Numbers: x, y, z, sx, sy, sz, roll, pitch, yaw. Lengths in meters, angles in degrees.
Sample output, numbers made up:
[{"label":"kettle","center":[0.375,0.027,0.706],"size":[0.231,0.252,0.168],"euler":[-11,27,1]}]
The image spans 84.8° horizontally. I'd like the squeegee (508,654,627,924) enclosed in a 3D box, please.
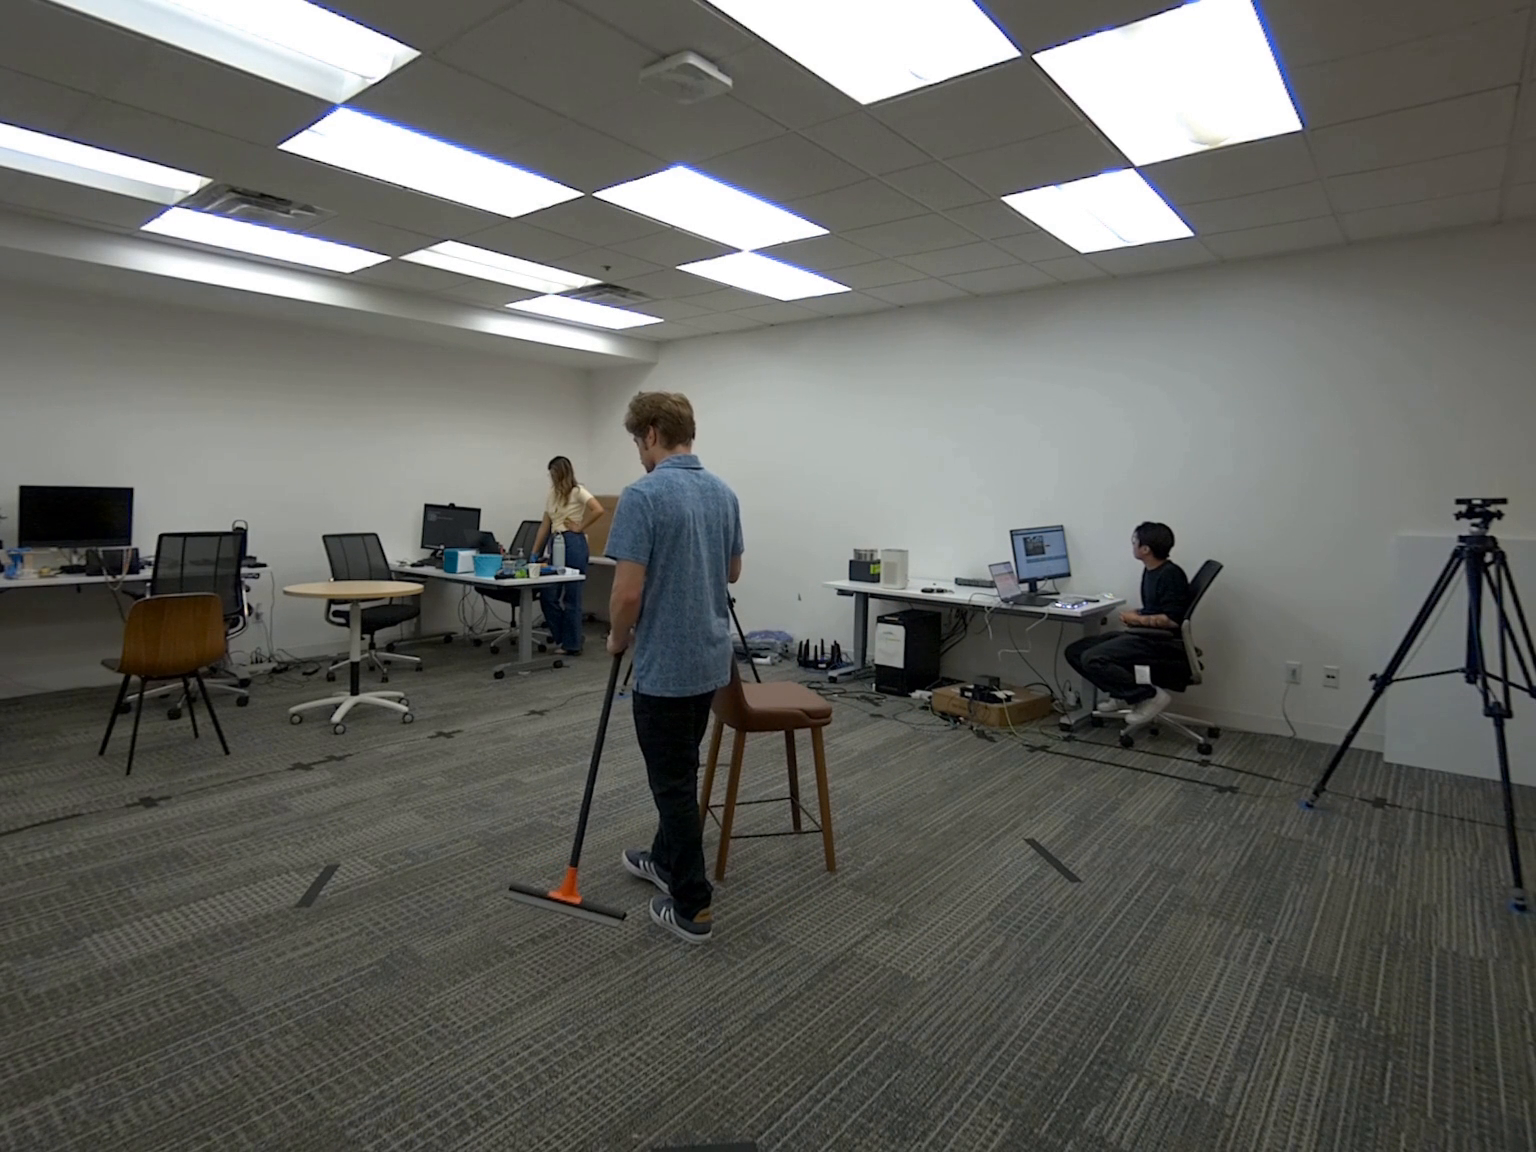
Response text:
[{"label":"squeegee","center":[-0.501,0.273,2.770],"size":[0.450,1.559,0.051],"euler":[-3,-23,33]}]
